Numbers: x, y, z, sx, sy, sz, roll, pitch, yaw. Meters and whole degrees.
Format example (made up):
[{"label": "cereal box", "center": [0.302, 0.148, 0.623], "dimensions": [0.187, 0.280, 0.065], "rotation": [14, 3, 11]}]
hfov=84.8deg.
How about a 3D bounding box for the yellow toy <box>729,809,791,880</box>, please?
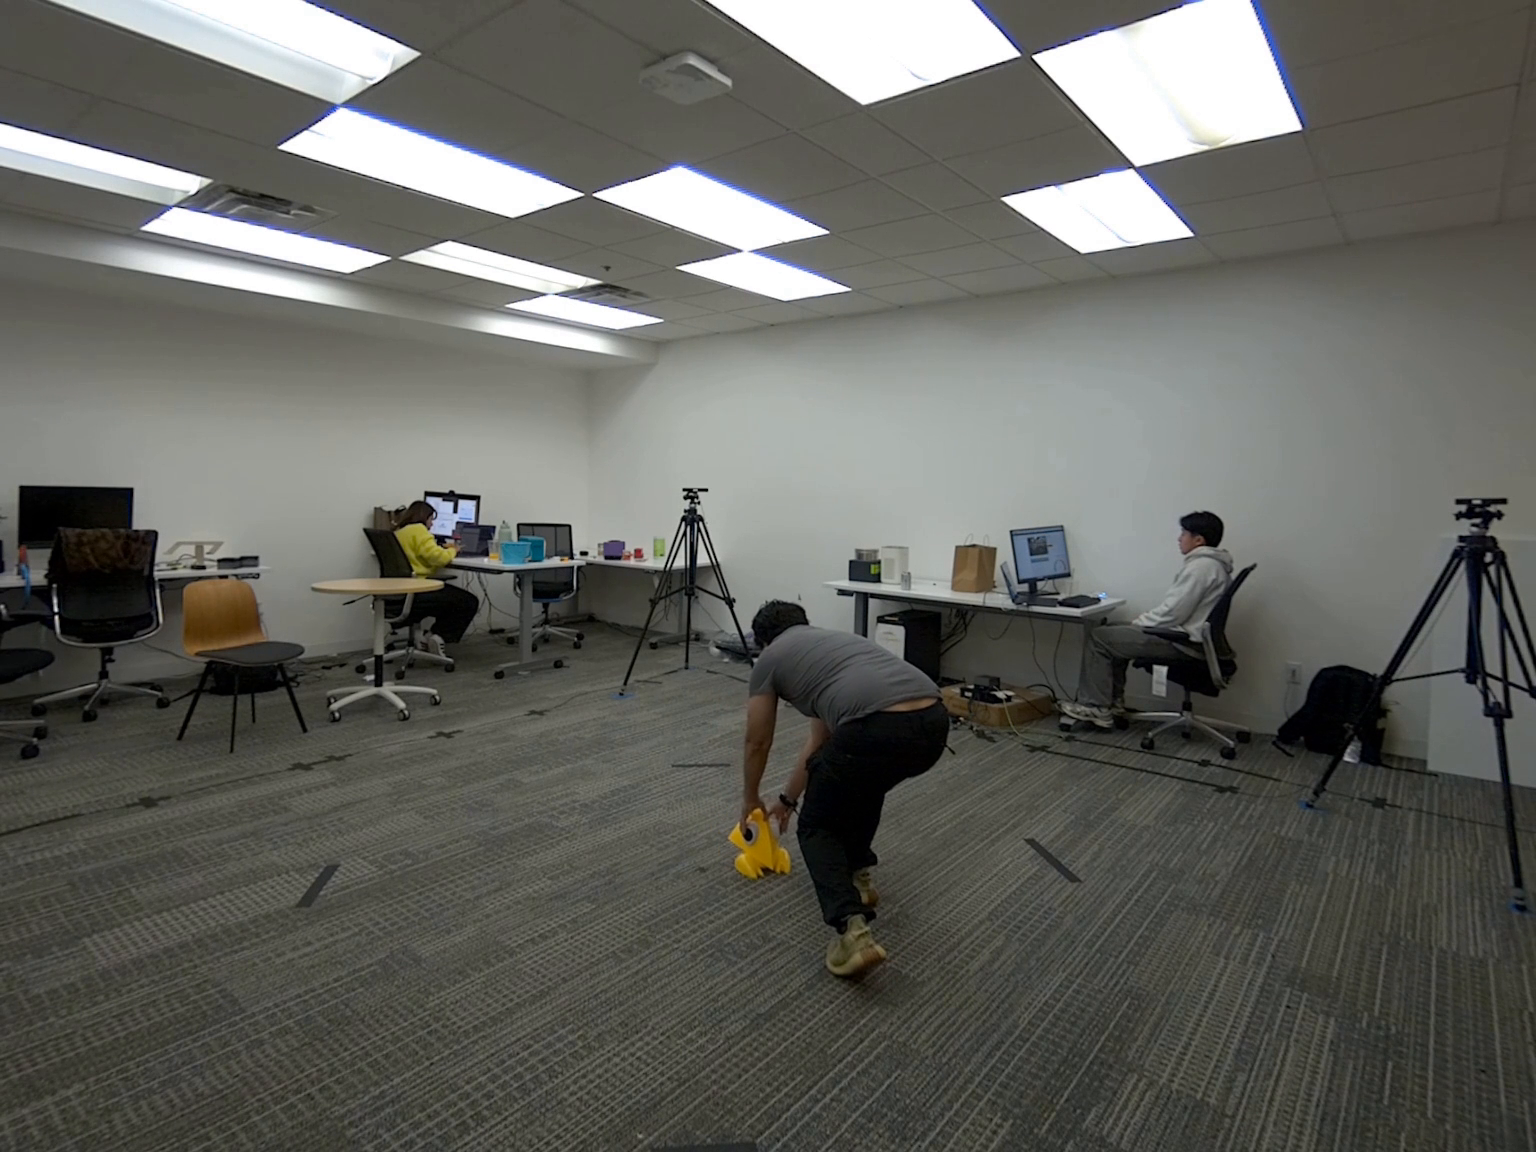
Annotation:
[{"label": "yellow toy", "center": [-0.028, 0.956, 3.144], "dimensions": [0.200, 0.230, 0.198], "rotation": [0, 5, -22]}]
